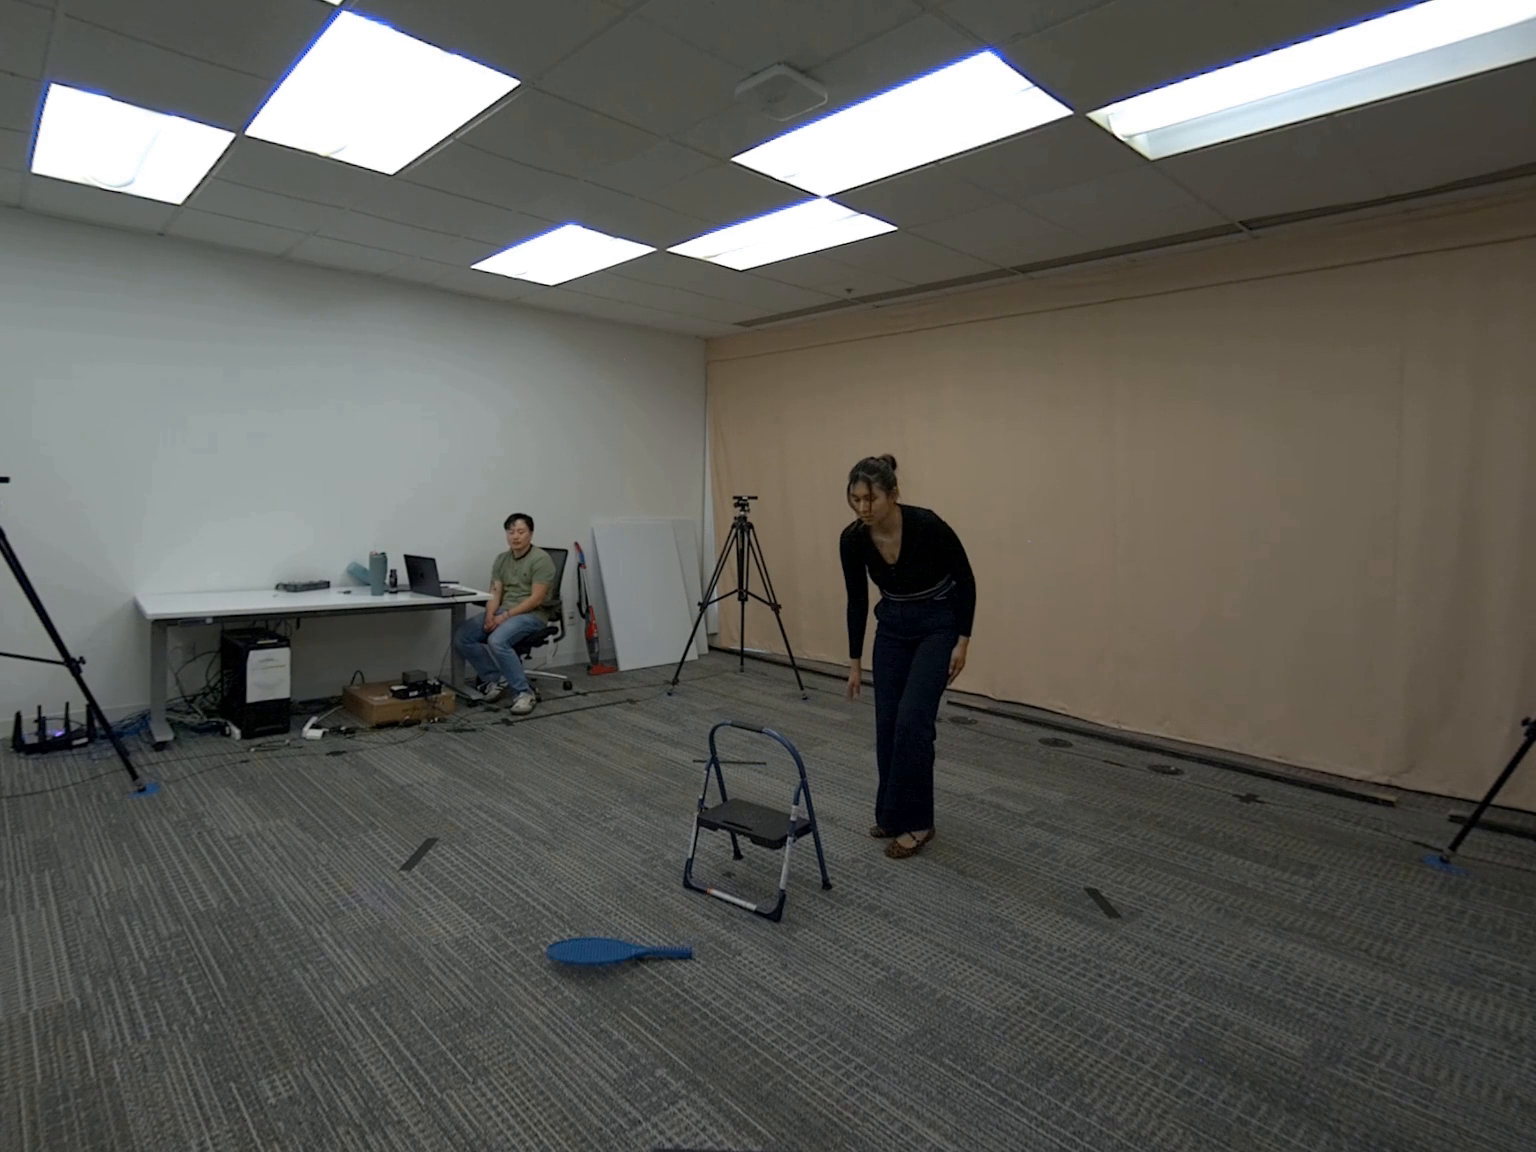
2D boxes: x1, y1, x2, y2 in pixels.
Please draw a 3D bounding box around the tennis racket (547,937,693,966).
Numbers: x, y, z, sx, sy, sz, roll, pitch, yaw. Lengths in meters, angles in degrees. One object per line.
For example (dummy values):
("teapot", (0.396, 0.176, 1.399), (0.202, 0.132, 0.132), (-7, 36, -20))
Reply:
("tennis racket", (-0.432, 1.116, 2.521), (0.430, 0.032, 0.214), (3, -6, -7))
